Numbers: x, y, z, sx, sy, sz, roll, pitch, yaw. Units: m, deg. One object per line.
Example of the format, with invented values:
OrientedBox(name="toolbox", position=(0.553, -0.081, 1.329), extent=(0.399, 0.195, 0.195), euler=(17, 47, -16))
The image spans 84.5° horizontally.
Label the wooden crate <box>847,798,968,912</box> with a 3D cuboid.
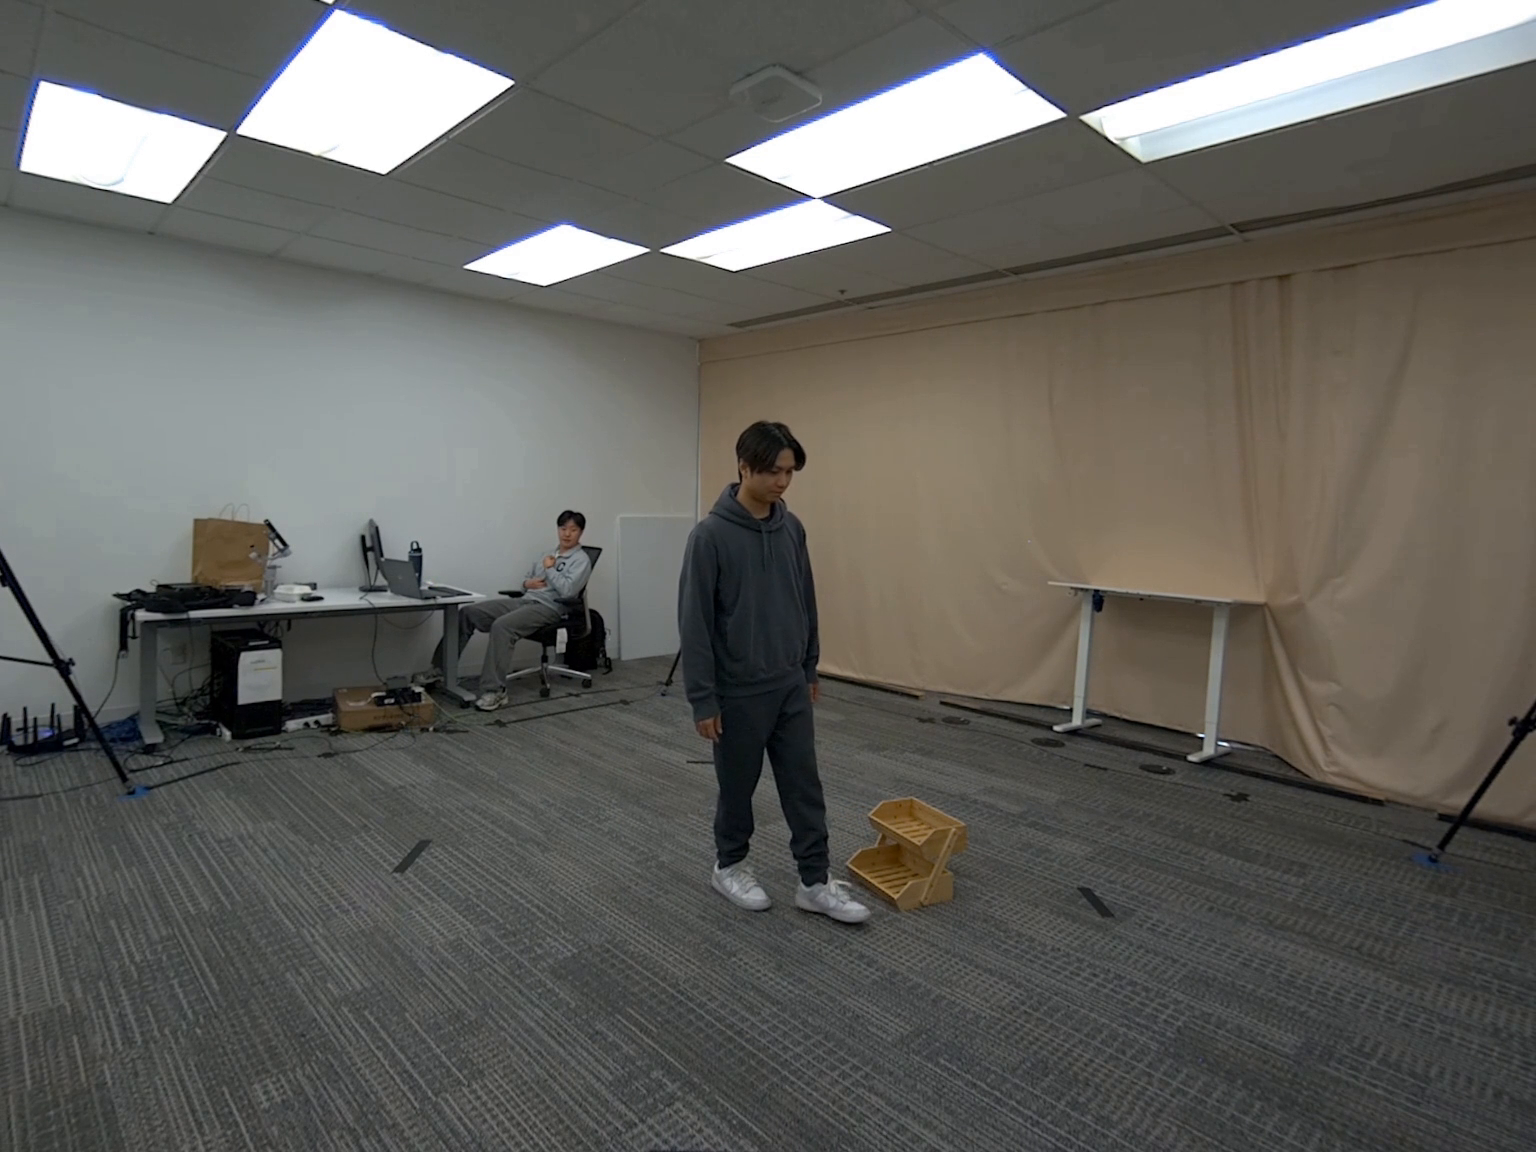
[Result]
OrientedBox(name="wooden crate", position=(0.493, 0.993, 3.048), extent=(0.296, 0.272, 0.332), euler=(0, 4, -29))
